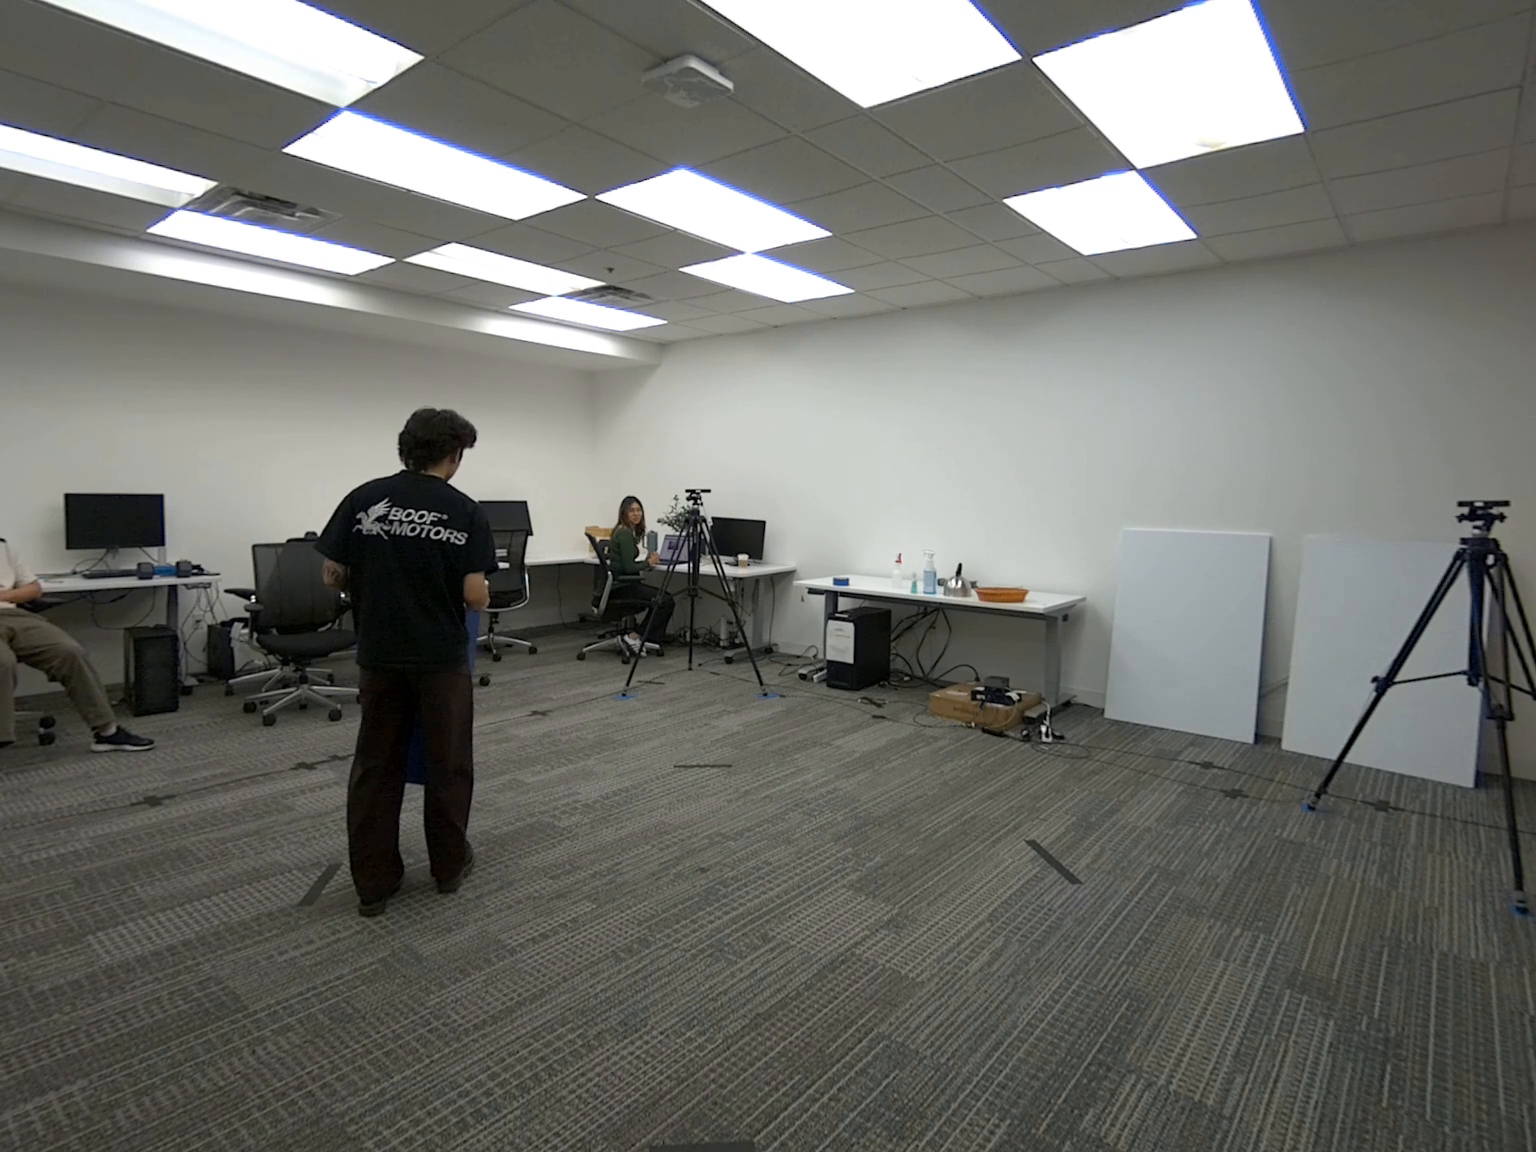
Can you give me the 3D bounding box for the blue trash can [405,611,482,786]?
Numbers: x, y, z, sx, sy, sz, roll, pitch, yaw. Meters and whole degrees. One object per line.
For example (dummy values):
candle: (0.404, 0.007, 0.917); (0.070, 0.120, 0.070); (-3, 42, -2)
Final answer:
blue trash can: (-1.310, 0.383, 3.195); (0.373, 0.706, 0.383); (8, 13, -3)
